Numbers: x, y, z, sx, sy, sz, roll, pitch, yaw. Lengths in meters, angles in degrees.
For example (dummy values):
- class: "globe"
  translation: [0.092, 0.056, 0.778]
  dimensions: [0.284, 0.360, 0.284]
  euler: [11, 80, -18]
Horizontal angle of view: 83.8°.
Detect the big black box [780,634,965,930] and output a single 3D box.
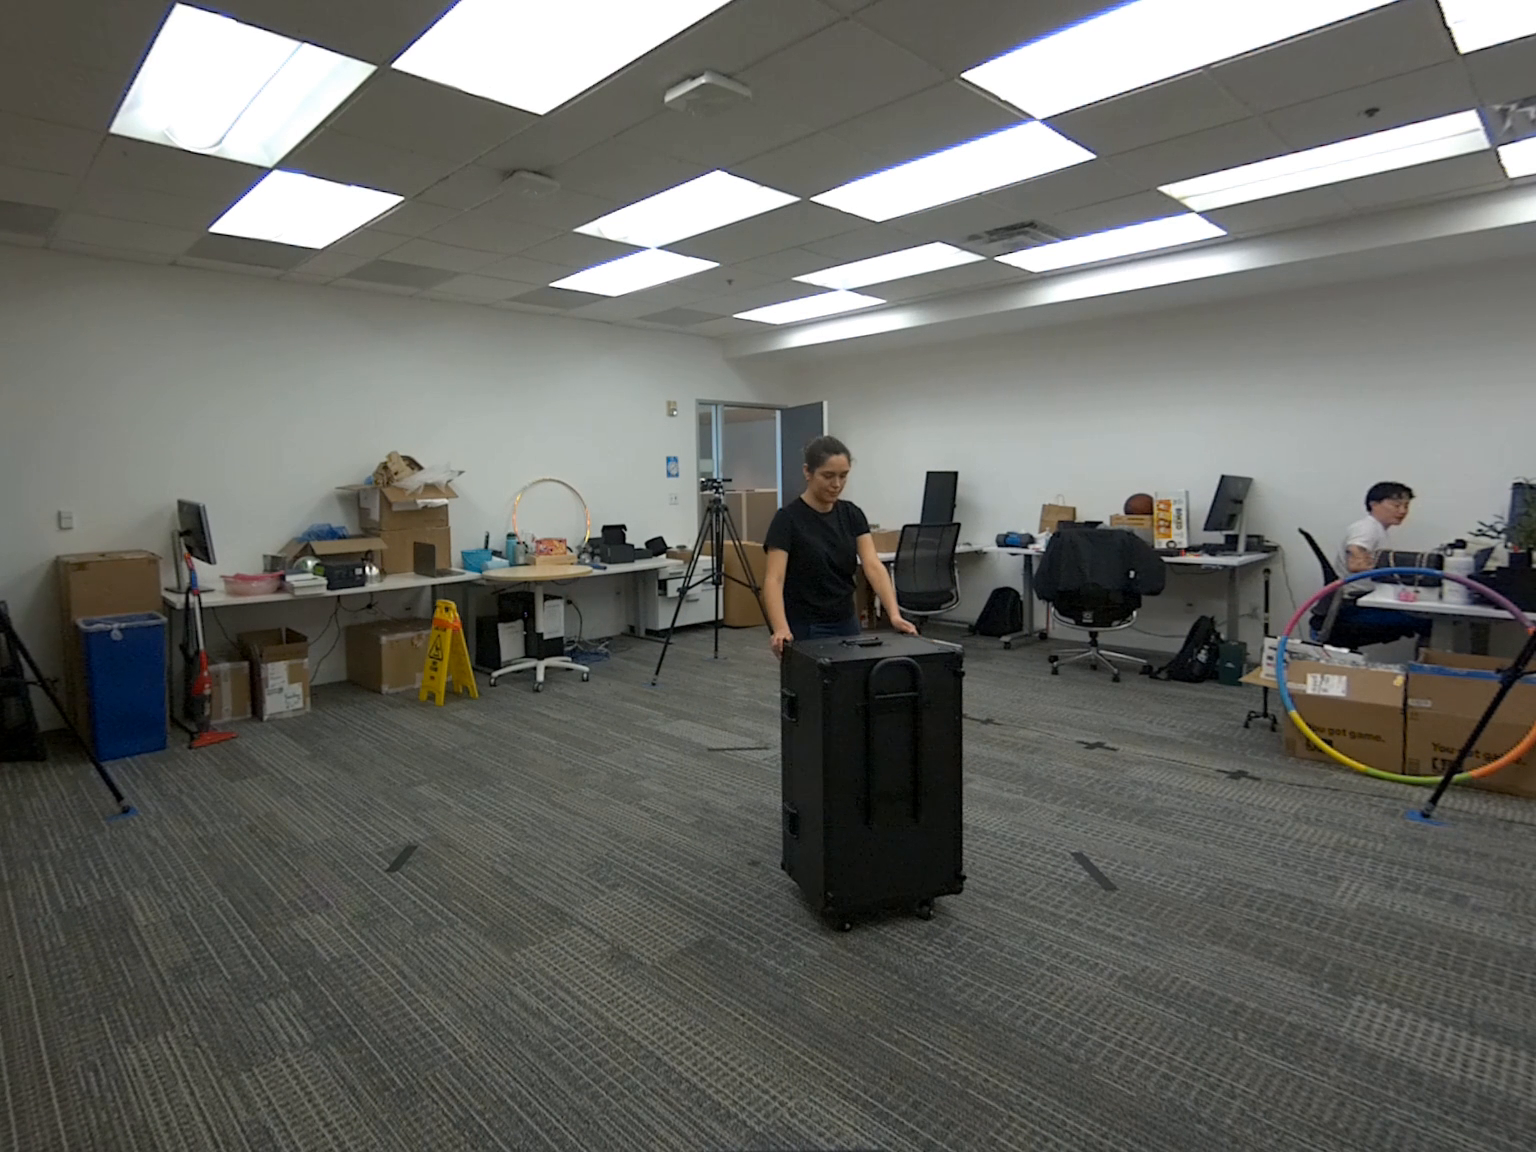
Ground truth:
- class: "big black box"
  translation: [0.336, 0.650, 2.797]
  dimensions: [0.512, 0.857, 0.405]
  euler: [-2, 5, -19]
